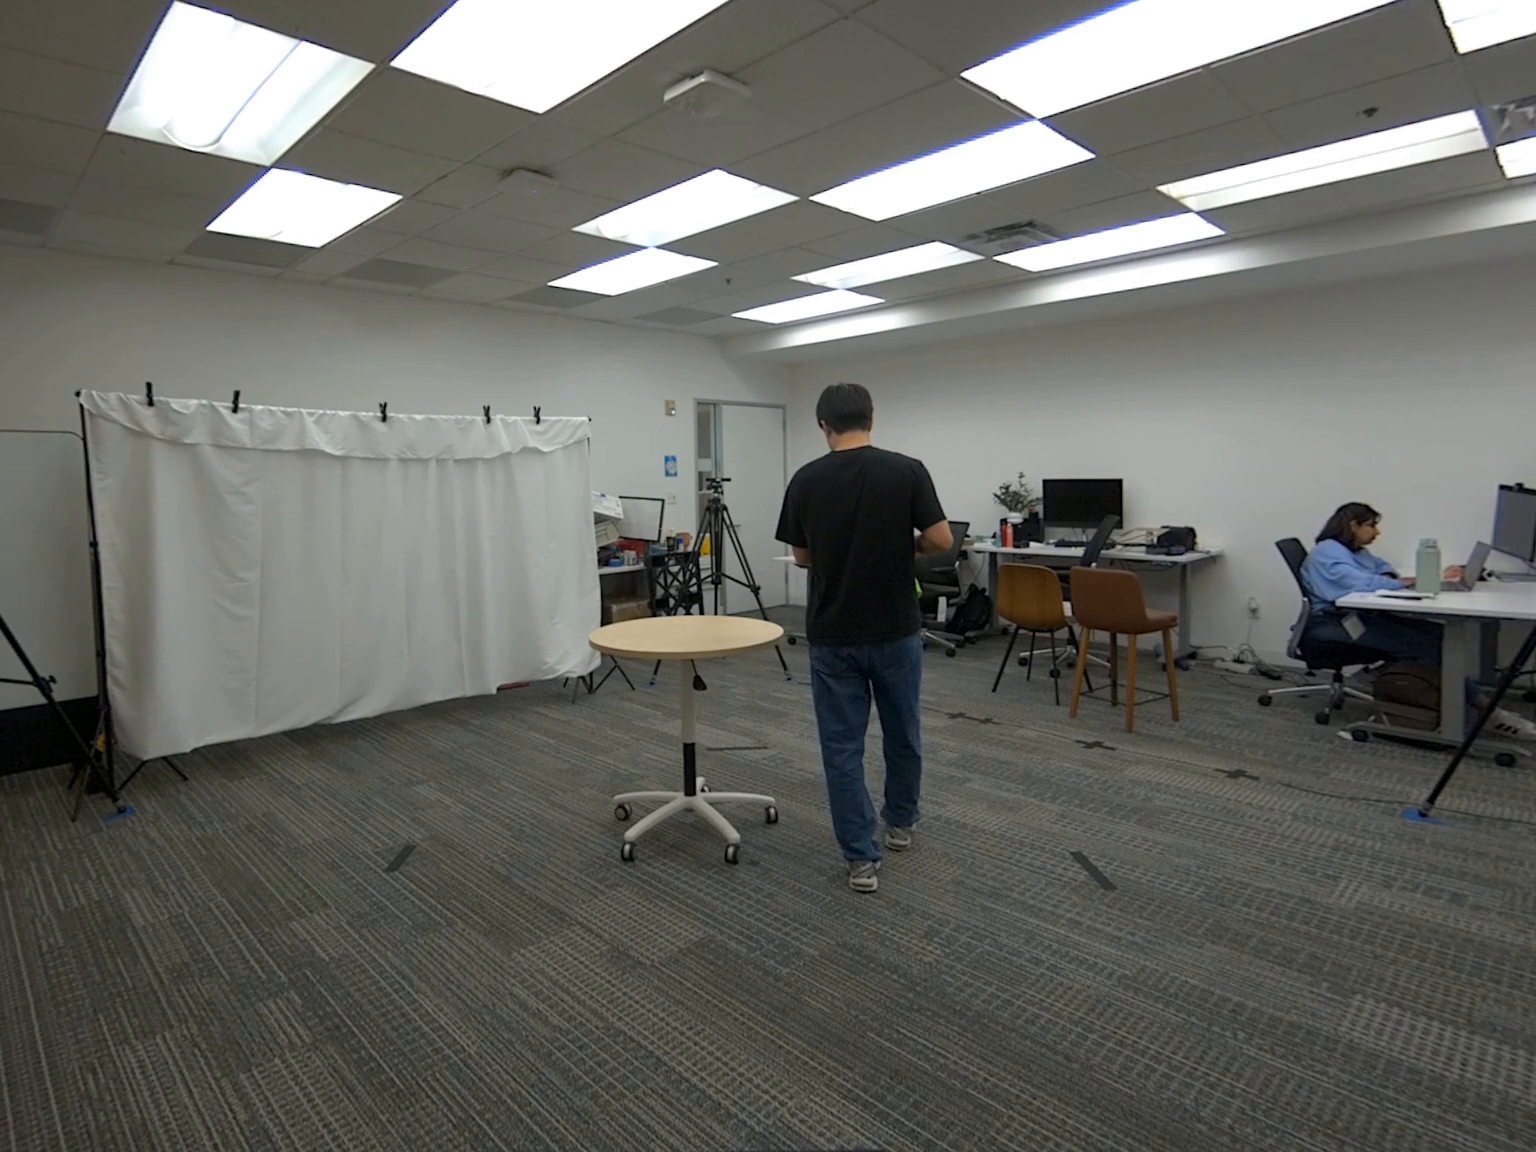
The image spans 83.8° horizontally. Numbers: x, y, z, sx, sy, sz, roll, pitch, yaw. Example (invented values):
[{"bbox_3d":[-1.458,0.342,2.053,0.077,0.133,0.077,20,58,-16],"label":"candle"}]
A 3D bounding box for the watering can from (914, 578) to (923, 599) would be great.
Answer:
[{"bbox_3d":[0.502,0.026,3.225,0.097,0.181,0.274,-14,-19,-9],"label":"watering can"}]
